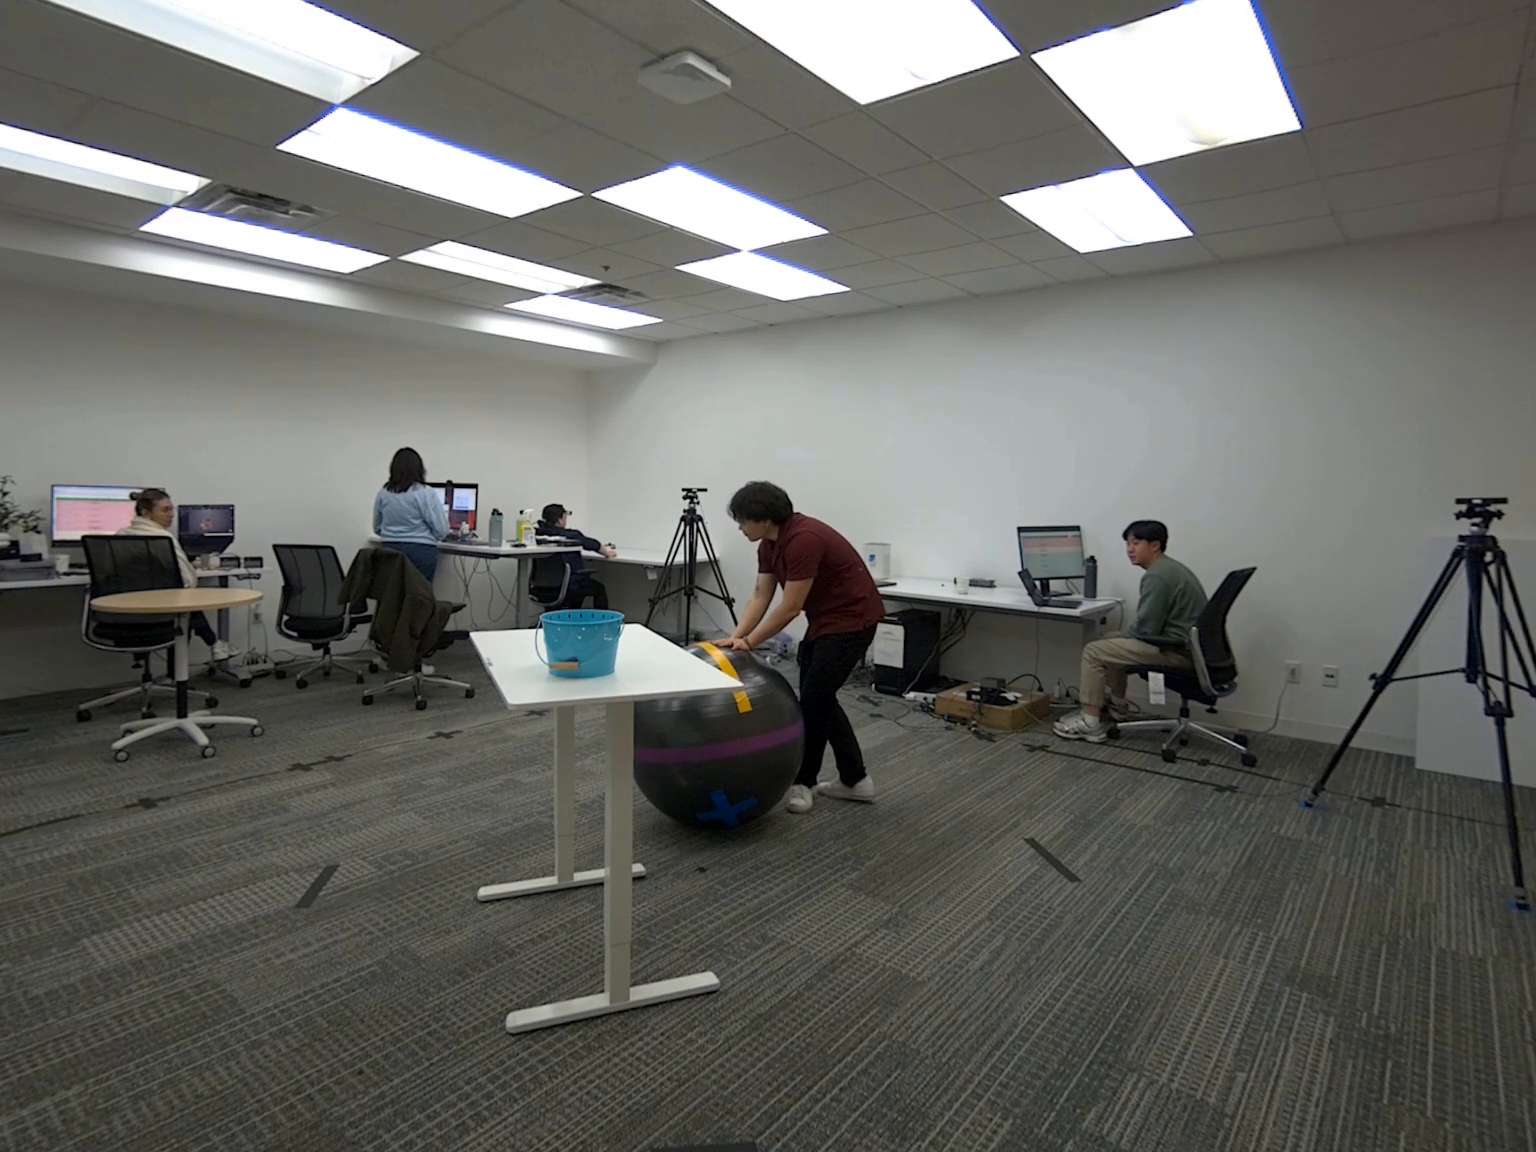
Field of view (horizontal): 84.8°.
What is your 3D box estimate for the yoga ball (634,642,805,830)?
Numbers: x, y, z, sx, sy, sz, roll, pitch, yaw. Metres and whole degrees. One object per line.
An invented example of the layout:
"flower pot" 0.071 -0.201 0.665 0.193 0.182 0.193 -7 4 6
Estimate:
"yoga ball" -0.233 0.662 3.570 0.757 0.756 0.762 1 4 -2
